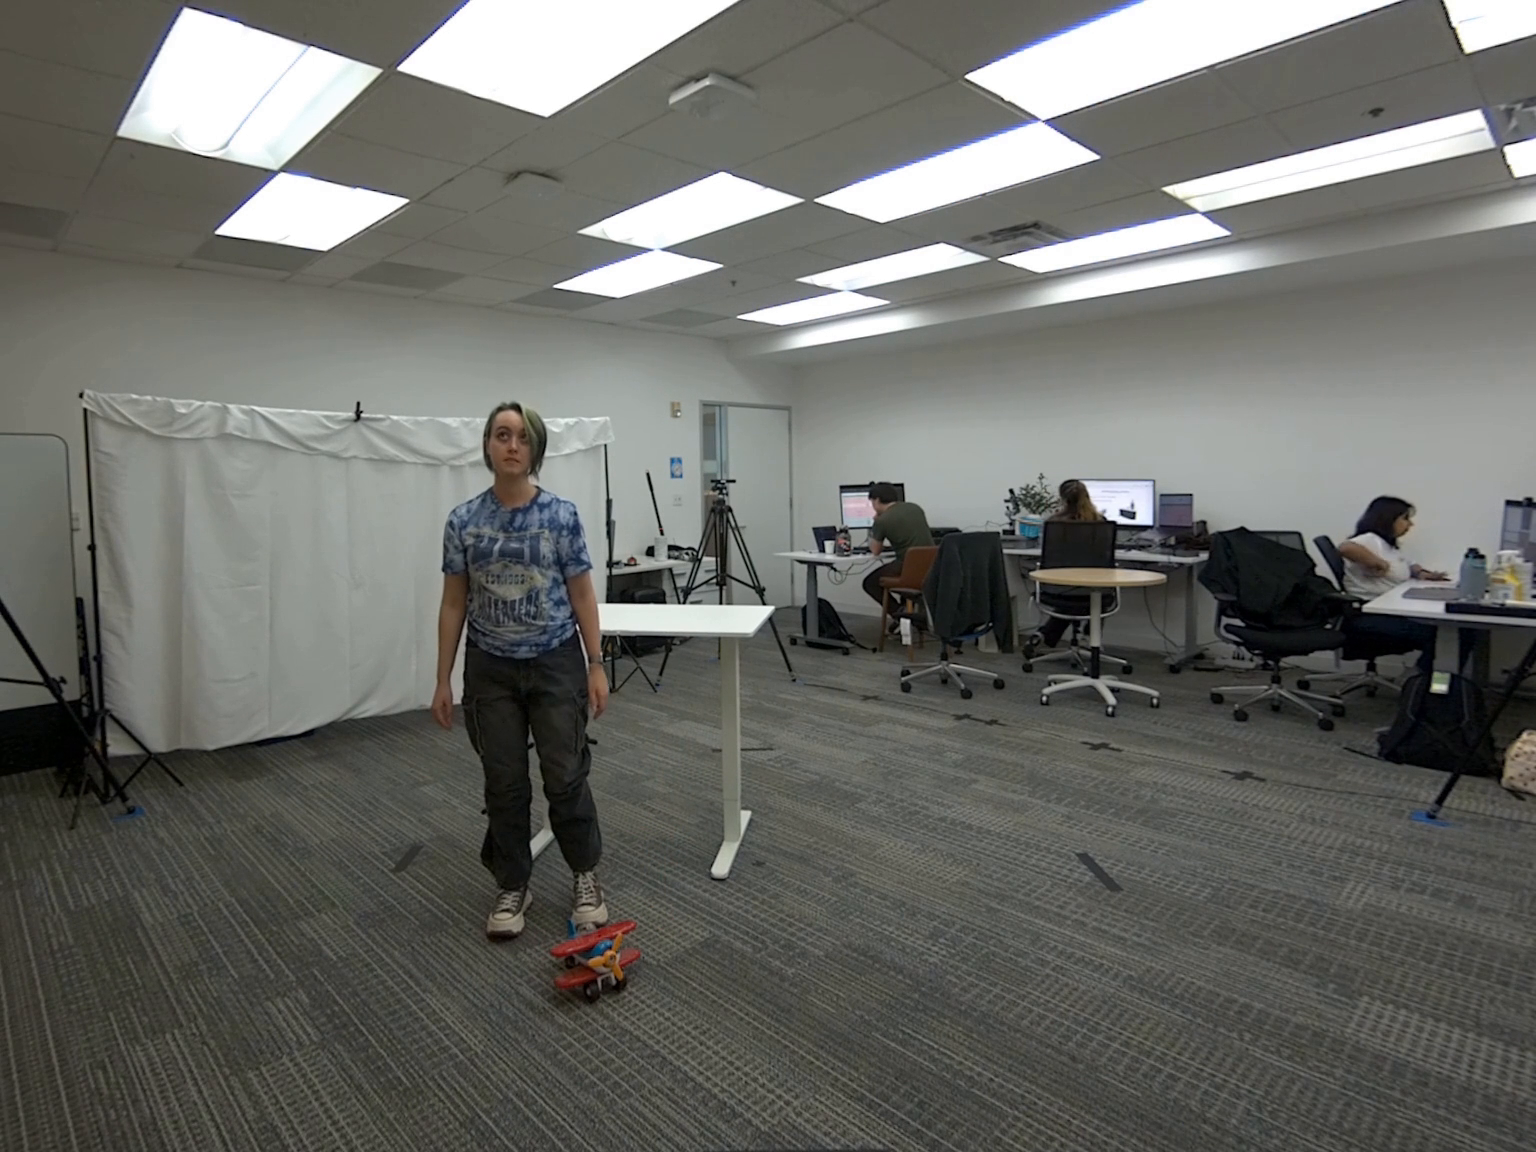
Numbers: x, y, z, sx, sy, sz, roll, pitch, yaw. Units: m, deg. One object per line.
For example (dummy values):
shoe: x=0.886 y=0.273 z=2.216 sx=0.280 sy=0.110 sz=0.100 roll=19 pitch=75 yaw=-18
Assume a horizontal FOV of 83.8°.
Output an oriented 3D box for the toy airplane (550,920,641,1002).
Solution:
toy airplane: x=-0.508 y=1.068 z=2.383 sx=0.265 sy=0.156 sz=0.246 roll=3 pitch=7 yaw=25
